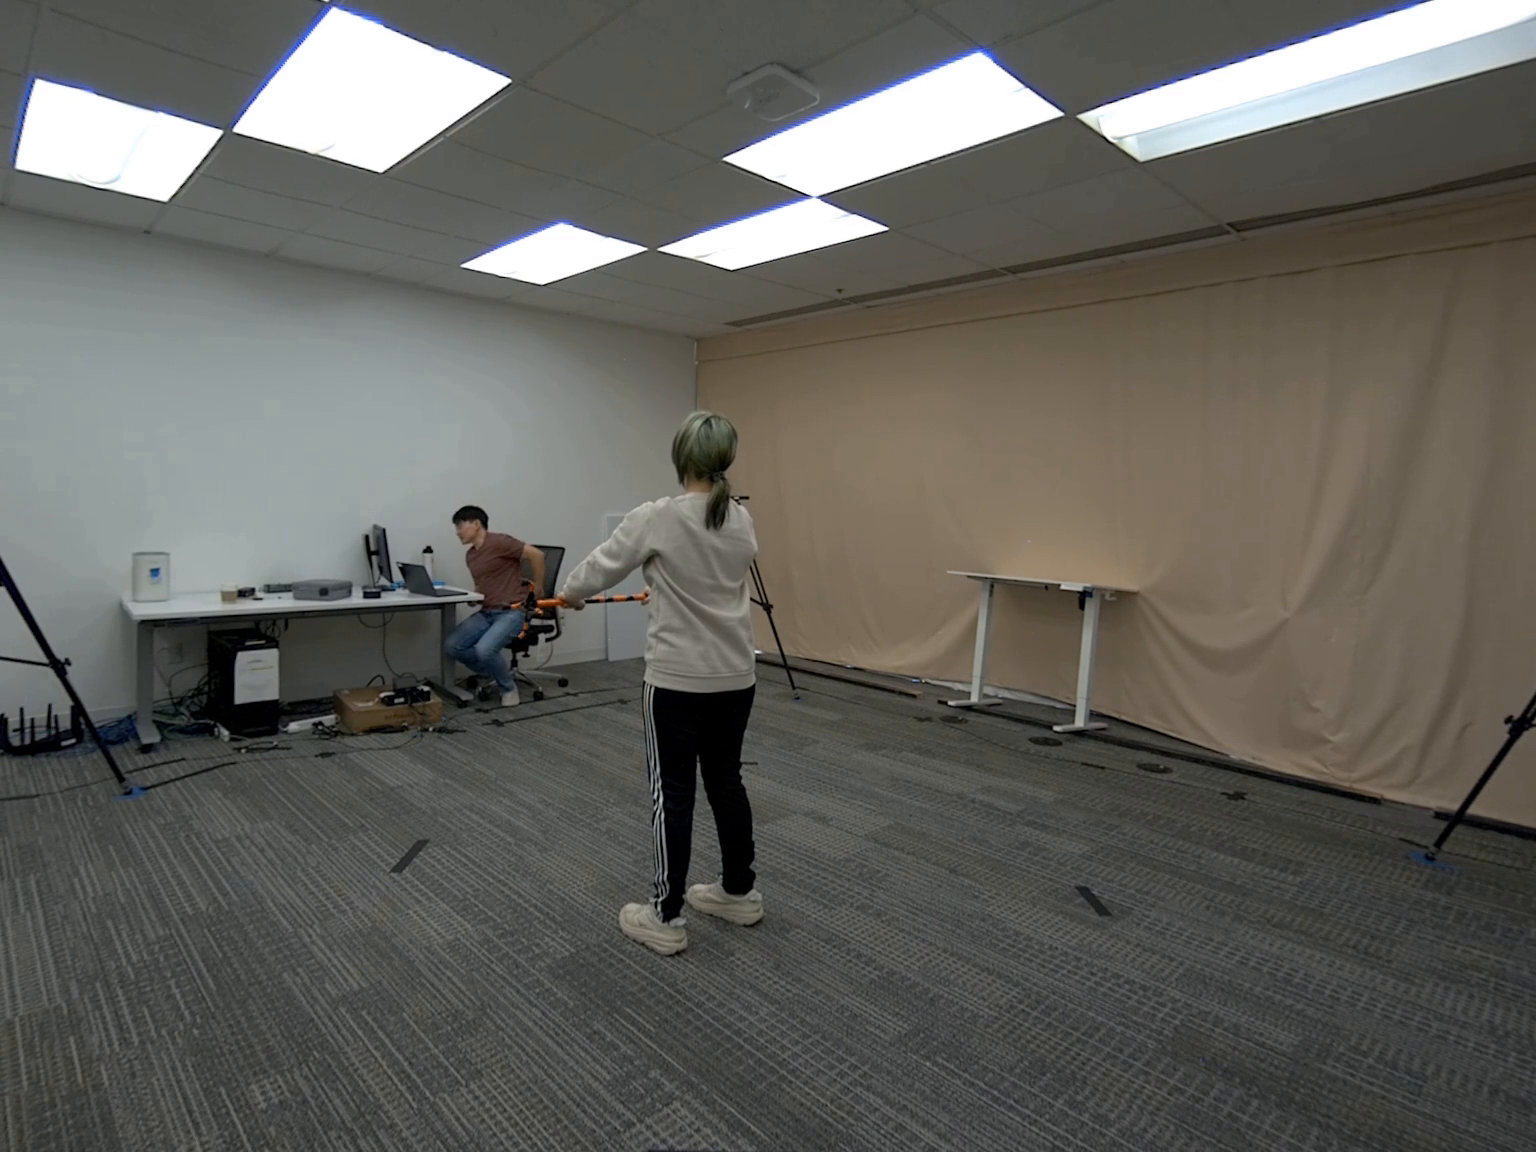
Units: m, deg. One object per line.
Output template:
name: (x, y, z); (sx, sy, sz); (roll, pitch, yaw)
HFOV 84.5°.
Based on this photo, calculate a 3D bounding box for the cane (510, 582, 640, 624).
cane: (-0.502, 0.091, 3.089); (0.888, 0.155, 0.207); (-3, -27, -38)
